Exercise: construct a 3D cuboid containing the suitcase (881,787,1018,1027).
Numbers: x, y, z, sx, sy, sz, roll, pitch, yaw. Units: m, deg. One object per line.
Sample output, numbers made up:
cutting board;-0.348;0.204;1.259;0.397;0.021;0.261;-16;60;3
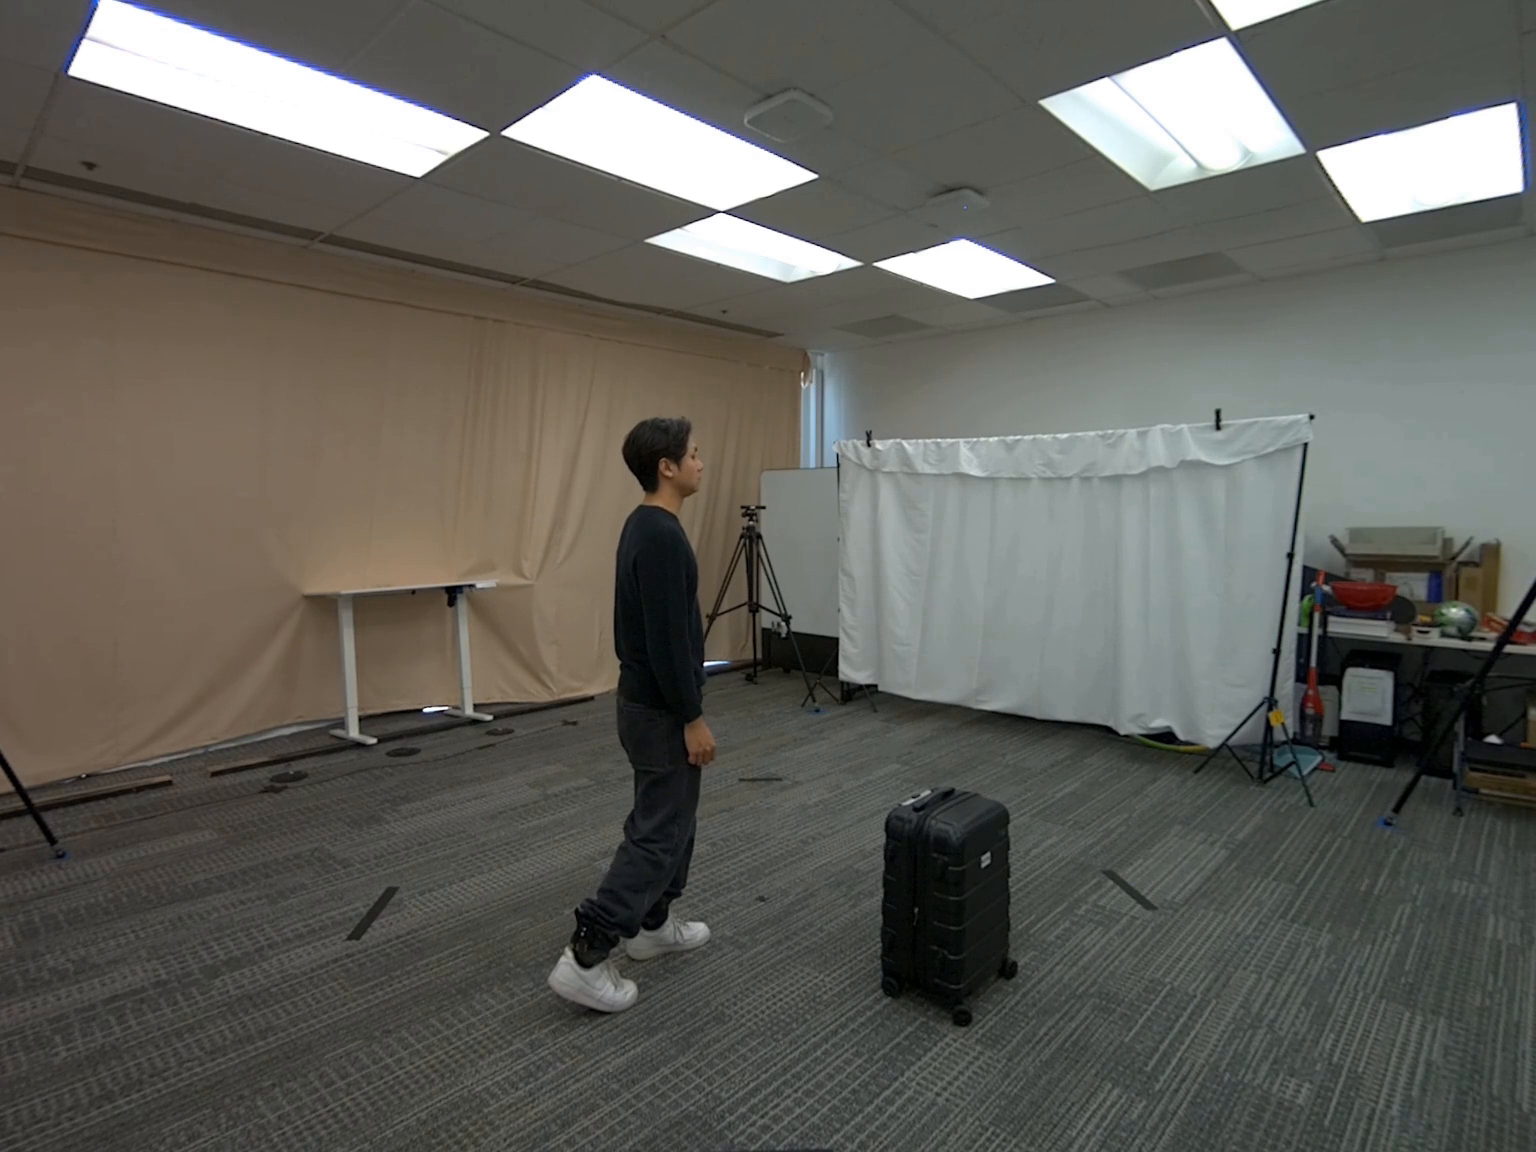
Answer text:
suitcase;0.526;0.917;2.425;0.256;0.548;0.364;3;5;42
